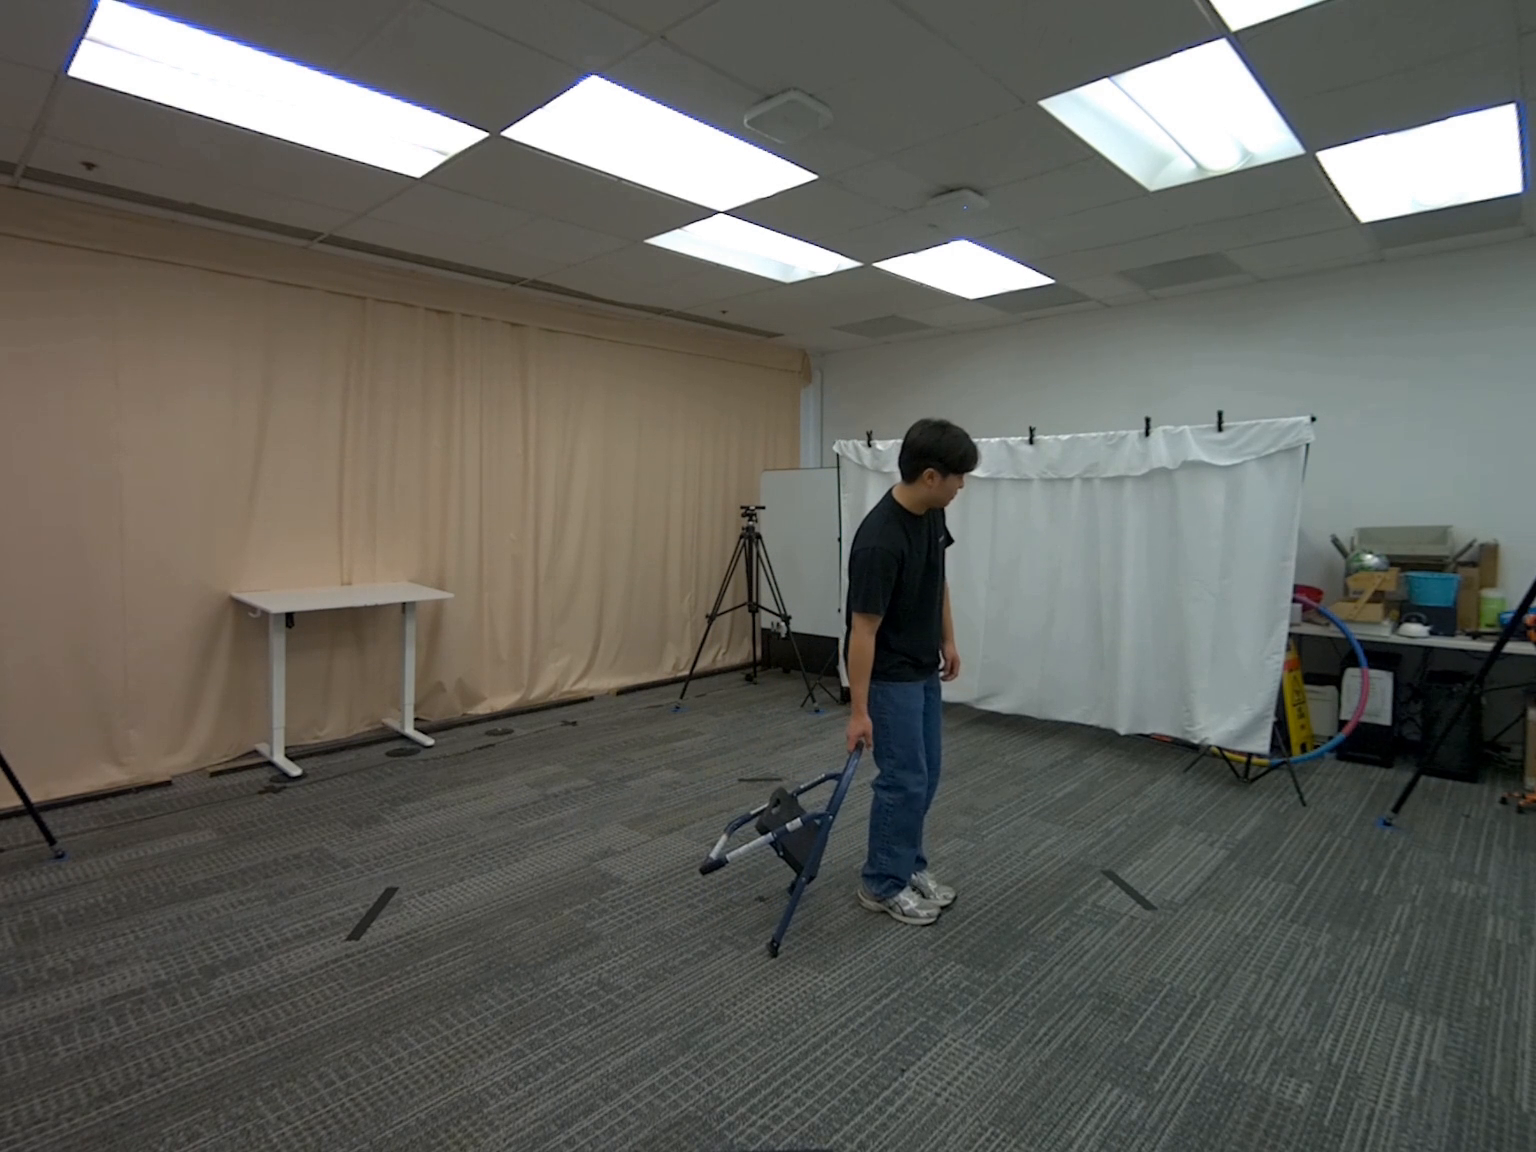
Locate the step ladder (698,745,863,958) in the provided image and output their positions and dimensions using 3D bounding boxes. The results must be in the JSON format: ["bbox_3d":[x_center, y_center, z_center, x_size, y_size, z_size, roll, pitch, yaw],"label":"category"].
[{"bbox_3d":[0.149,0.822,2.755,0.352,0.608,0.425,45,11,6],"label":"step ladder"}]
